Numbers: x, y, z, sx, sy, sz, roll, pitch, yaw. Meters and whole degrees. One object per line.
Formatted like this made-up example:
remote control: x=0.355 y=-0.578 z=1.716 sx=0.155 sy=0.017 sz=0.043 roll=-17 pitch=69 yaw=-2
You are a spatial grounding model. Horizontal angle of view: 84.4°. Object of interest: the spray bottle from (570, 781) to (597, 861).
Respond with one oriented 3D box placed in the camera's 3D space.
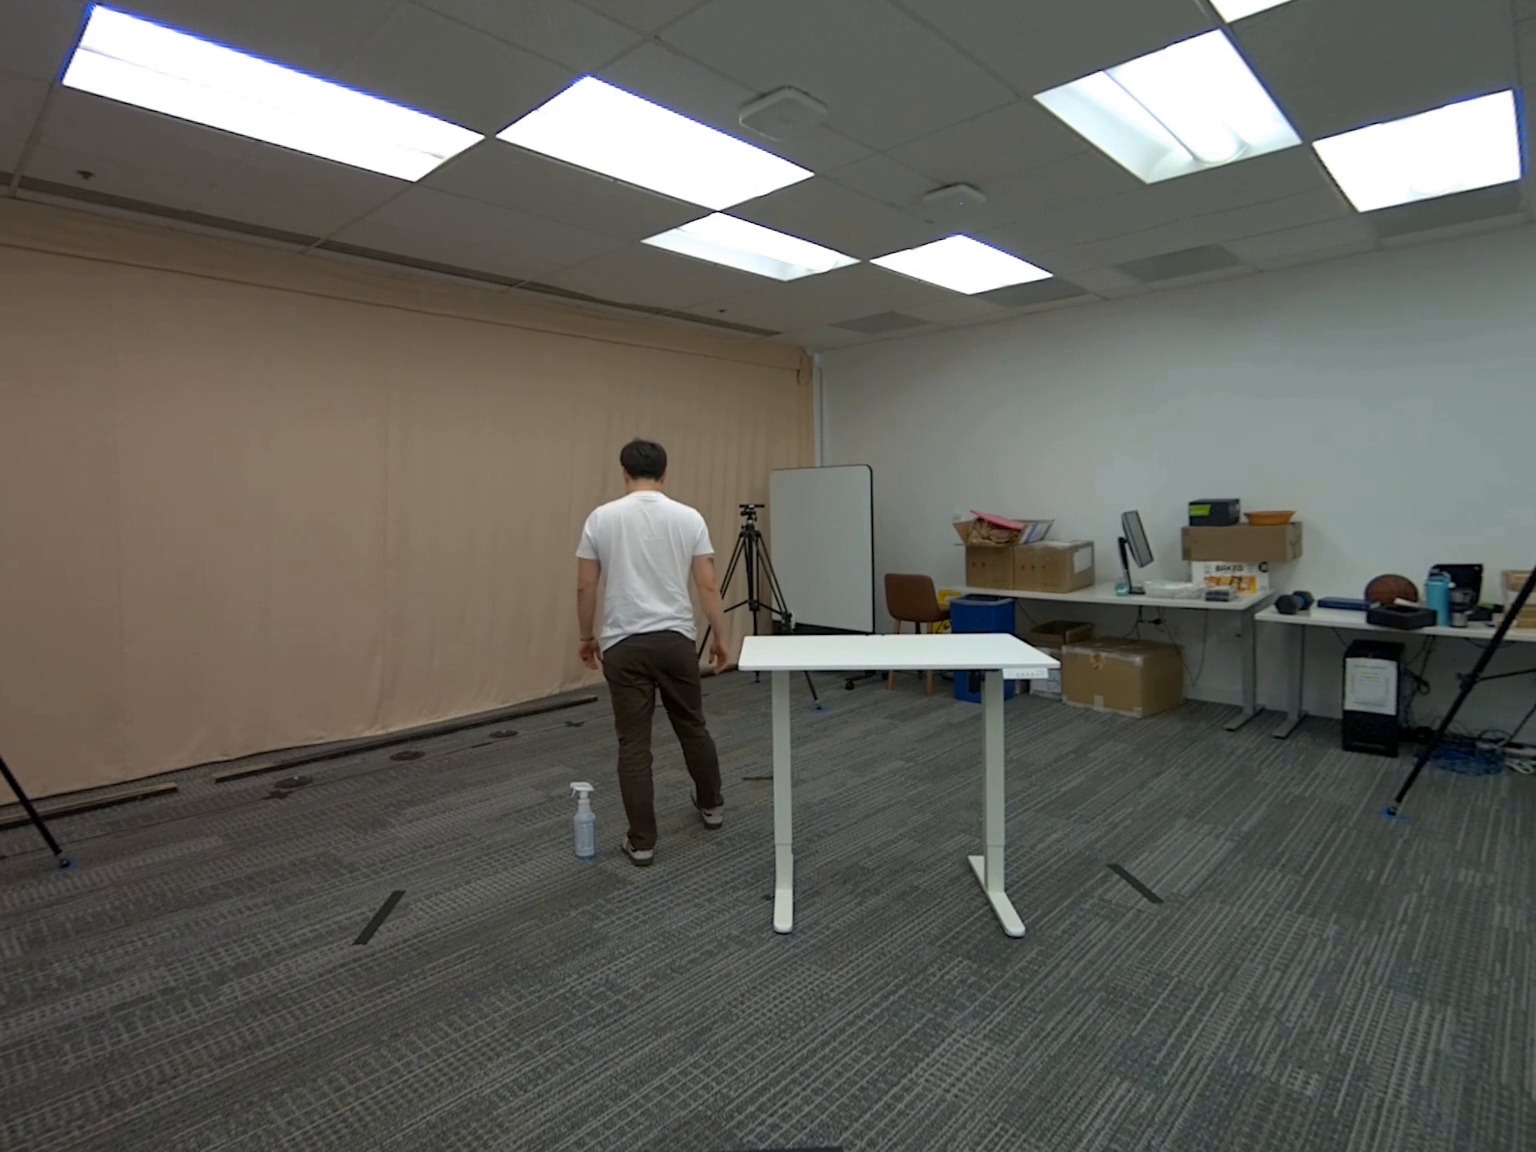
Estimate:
spray bottle: x=-0.740 y=0.984 z=3.386 sx=0.092 sy=0.297 sz=0.085 roll=-1 pitch=3 yaw=21
